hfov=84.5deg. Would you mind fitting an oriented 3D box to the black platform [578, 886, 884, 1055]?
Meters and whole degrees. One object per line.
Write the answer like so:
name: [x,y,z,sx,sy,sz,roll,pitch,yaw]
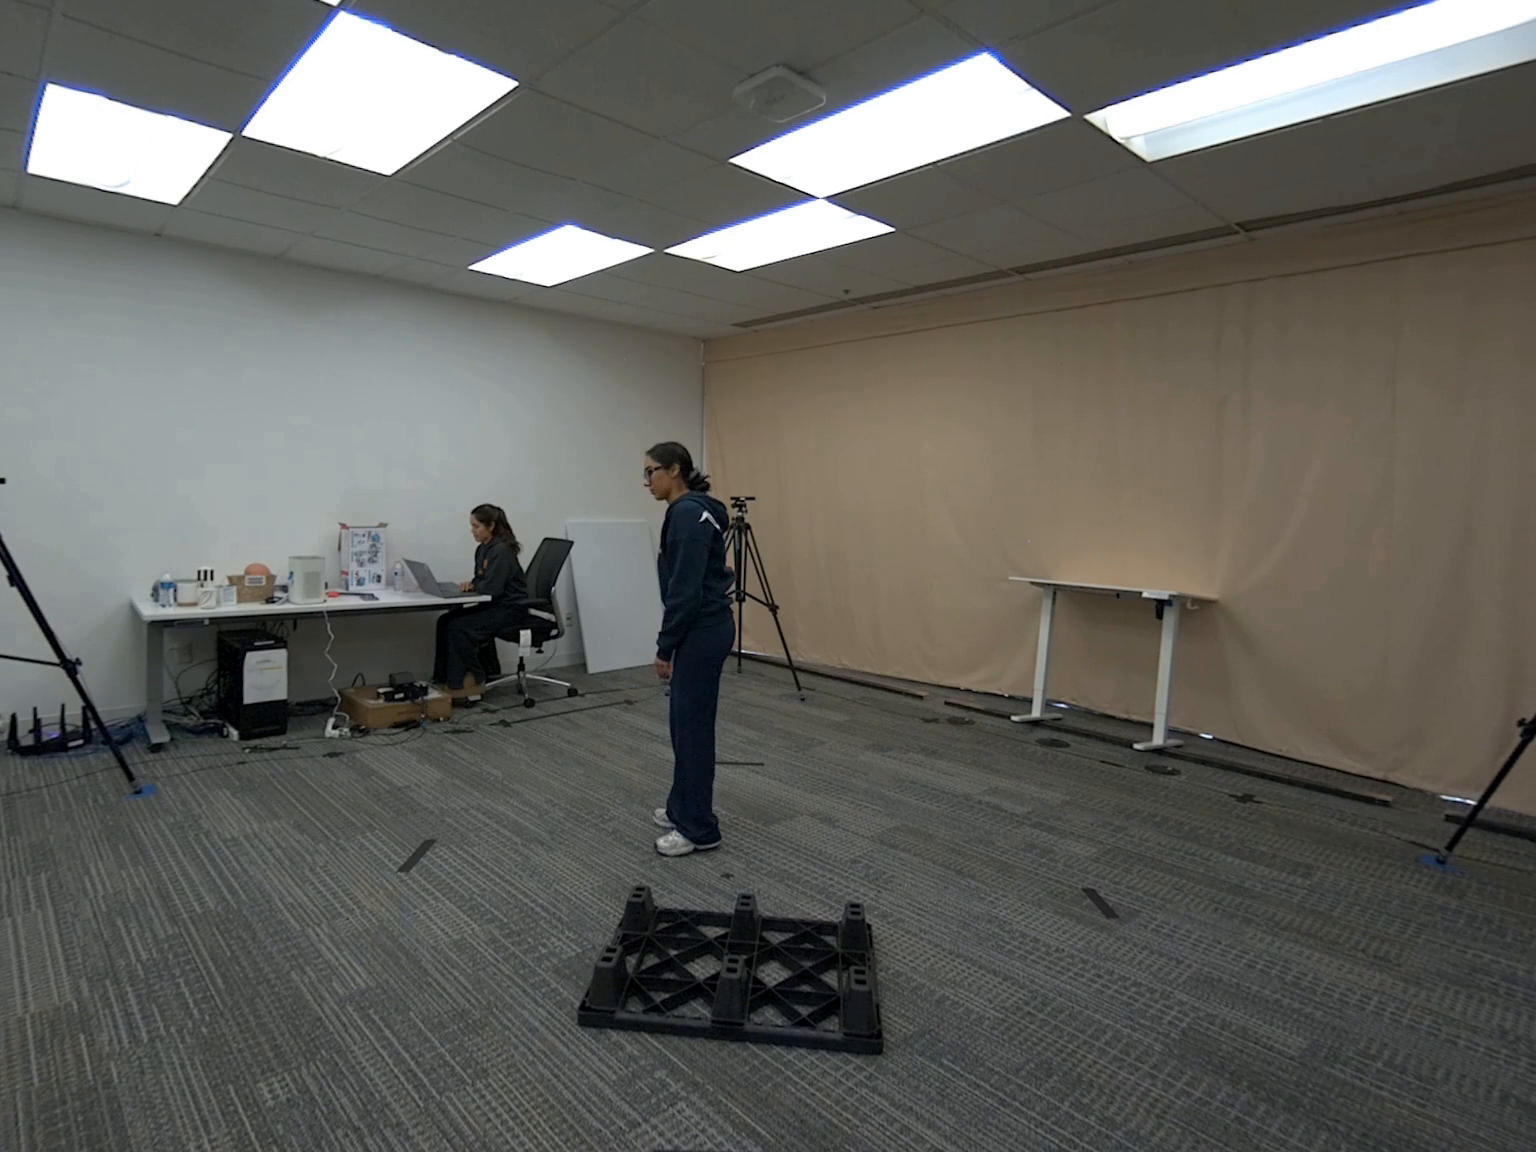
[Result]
black platform: [-0.089,1.105,2.444,0.809,0.143,0.604,2,5,5]
